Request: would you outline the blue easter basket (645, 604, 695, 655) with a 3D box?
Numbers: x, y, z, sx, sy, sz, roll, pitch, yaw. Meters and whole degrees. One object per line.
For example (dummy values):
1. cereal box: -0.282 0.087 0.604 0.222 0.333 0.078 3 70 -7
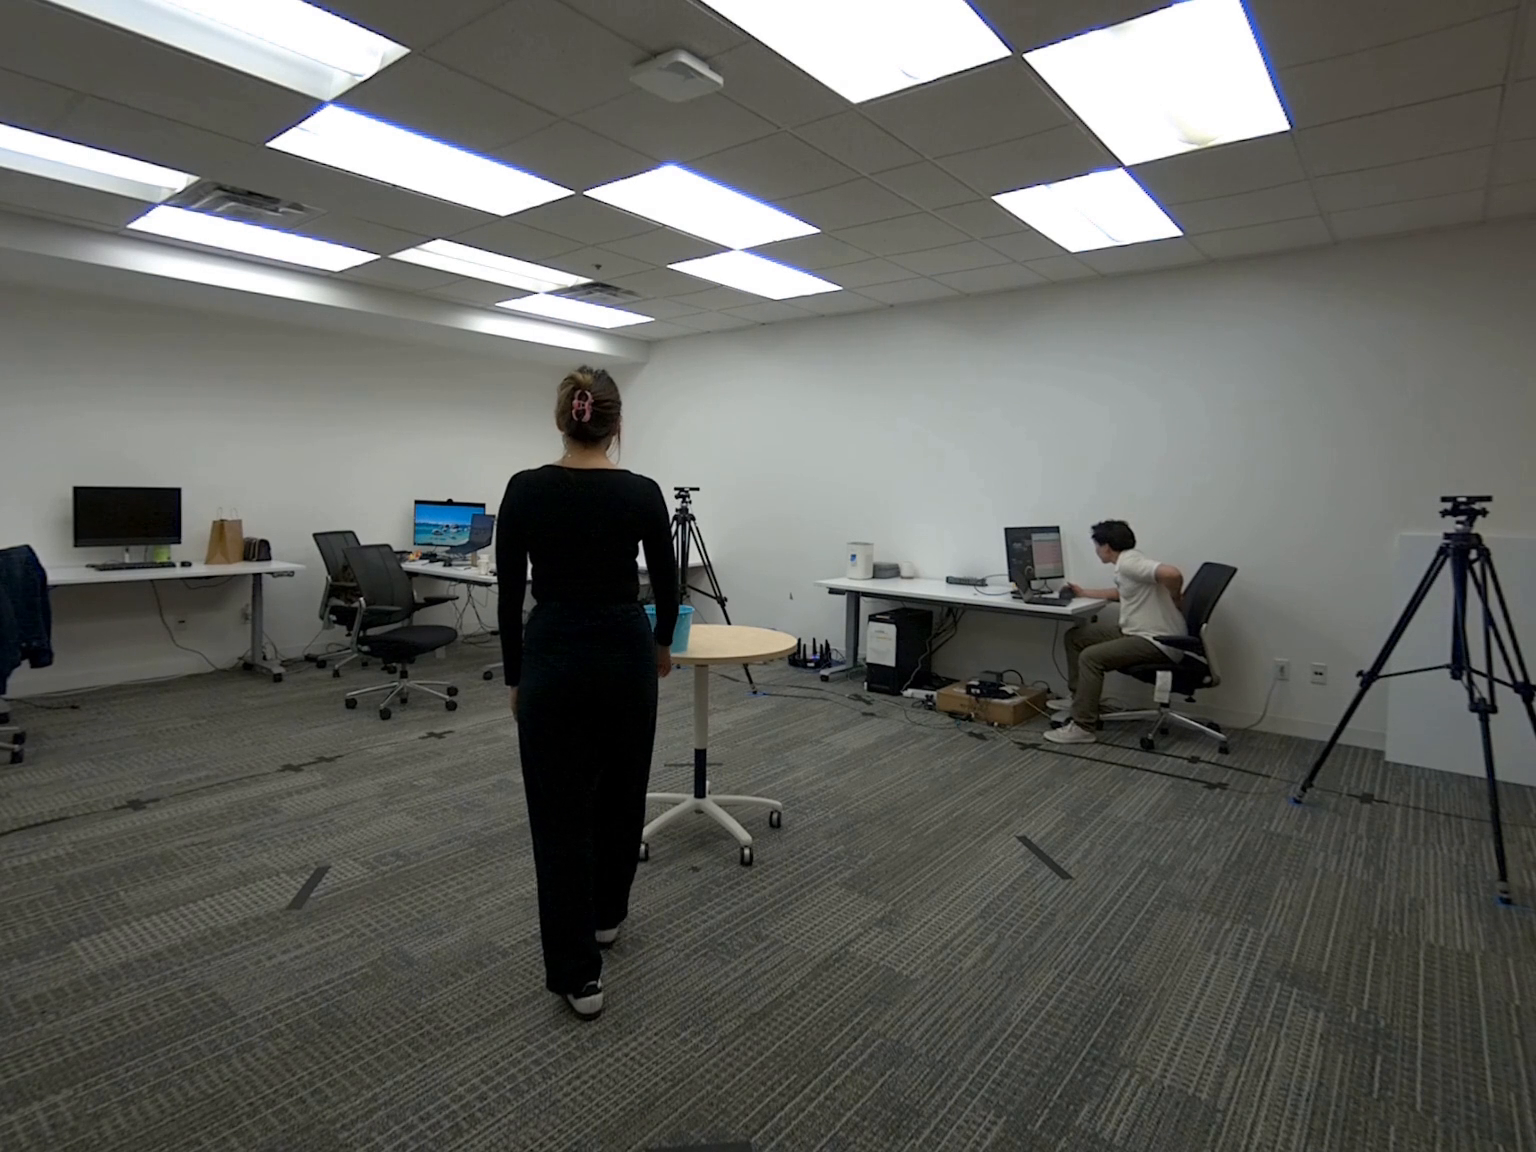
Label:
1. blue easter basket: -0.399 0.201 3.192 0.243 0.155 0.245 2 6 -2
